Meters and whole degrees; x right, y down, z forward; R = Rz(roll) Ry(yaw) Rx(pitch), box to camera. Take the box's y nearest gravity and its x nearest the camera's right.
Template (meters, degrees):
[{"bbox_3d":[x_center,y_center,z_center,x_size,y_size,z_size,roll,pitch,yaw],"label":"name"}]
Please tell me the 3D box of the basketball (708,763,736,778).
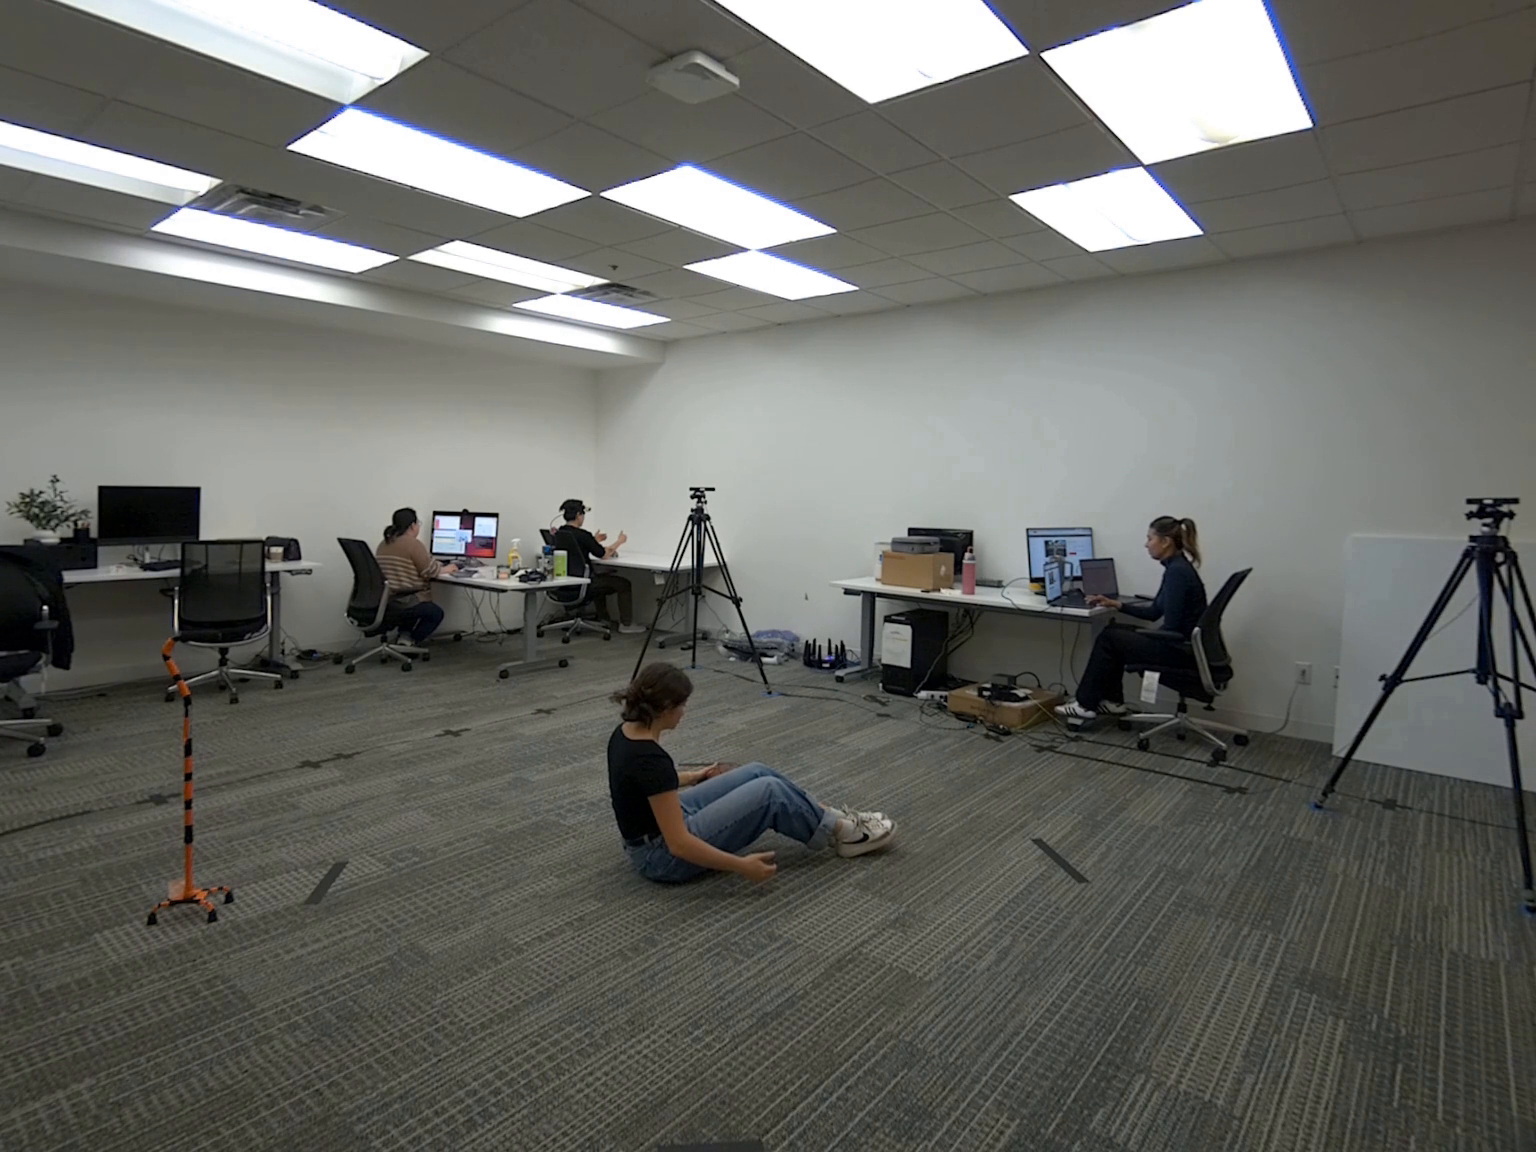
[{"bbox_3d":[-0.156,0.903,3.554,0.235,0.235,0.237,1,4,-2],"label":"basketball"}]
